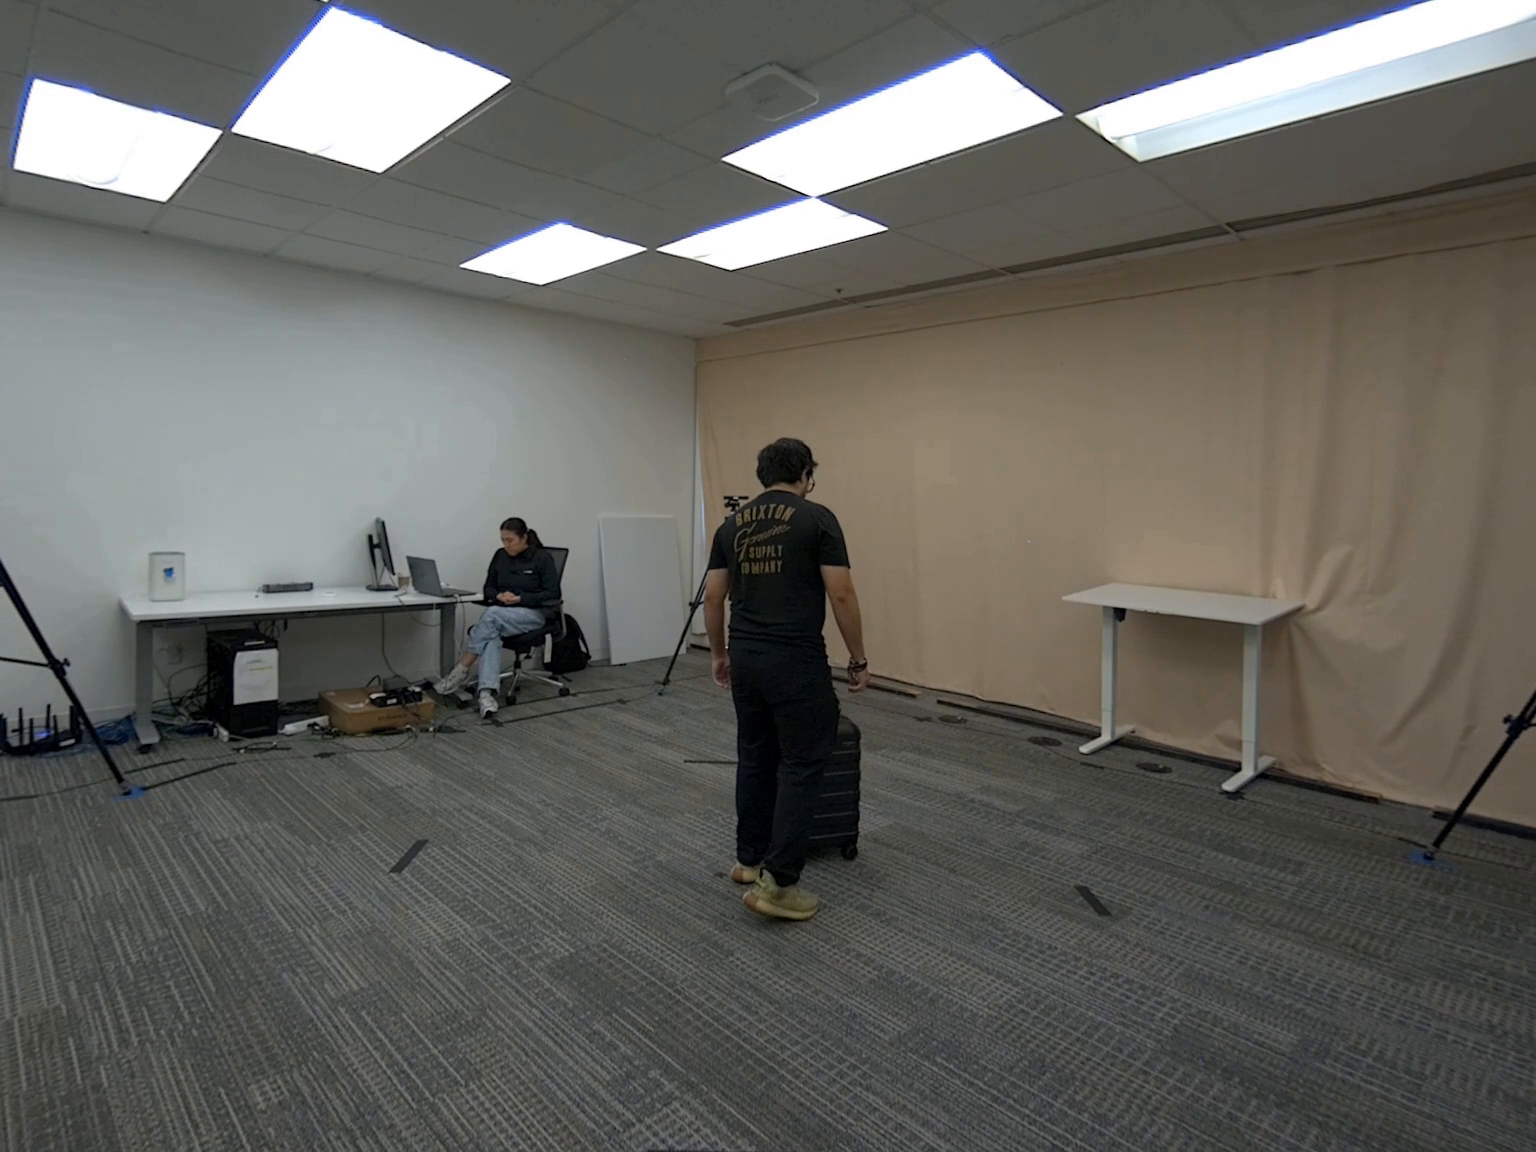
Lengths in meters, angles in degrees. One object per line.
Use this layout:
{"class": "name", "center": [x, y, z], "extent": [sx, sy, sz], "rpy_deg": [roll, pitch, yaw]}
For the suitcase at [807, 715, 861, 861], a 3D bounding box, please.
{"class": "suitcase", "center": [0.176, 0.612, 3.315], "extent": [0.379, 0.976, 0.261], "rpy_deg": [1, 4, -18]}
